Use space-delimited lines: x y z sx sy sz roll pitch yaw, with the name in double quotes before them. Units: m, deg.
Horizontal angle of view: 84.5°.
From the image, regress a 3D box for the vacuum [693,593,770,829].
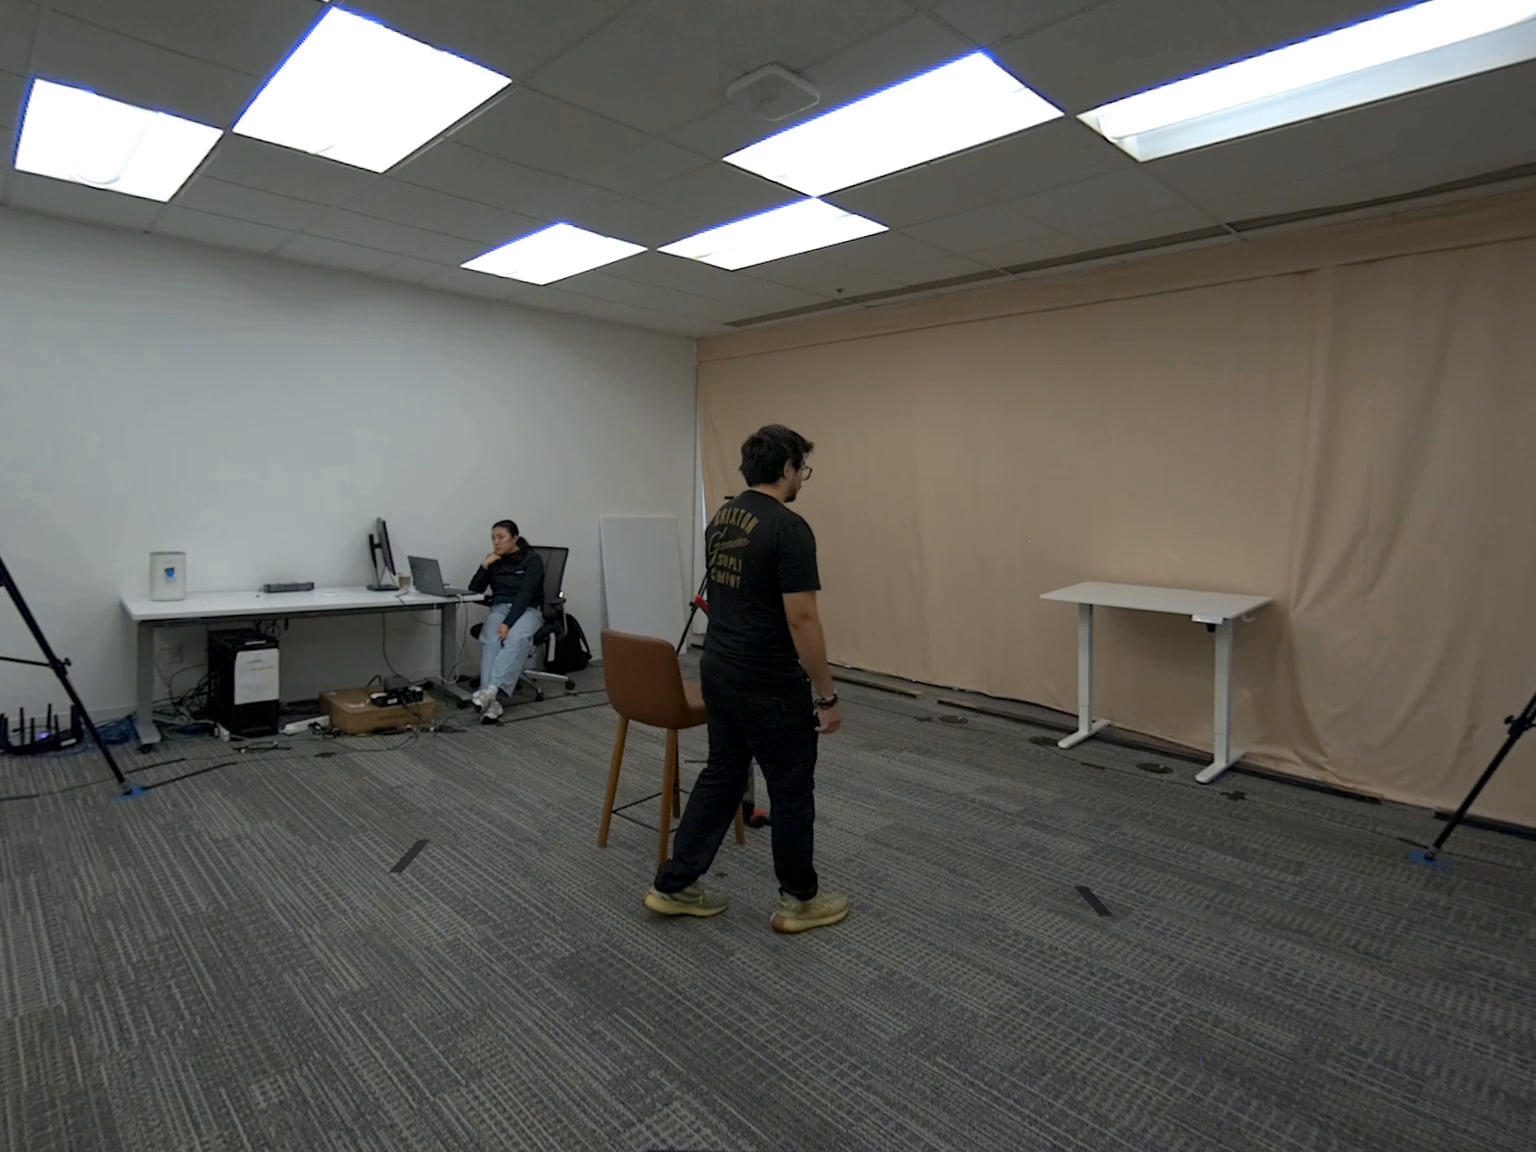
"vacuum" -0.160 0.580 3.510 0.259 1.035 0.142 2 21 41
